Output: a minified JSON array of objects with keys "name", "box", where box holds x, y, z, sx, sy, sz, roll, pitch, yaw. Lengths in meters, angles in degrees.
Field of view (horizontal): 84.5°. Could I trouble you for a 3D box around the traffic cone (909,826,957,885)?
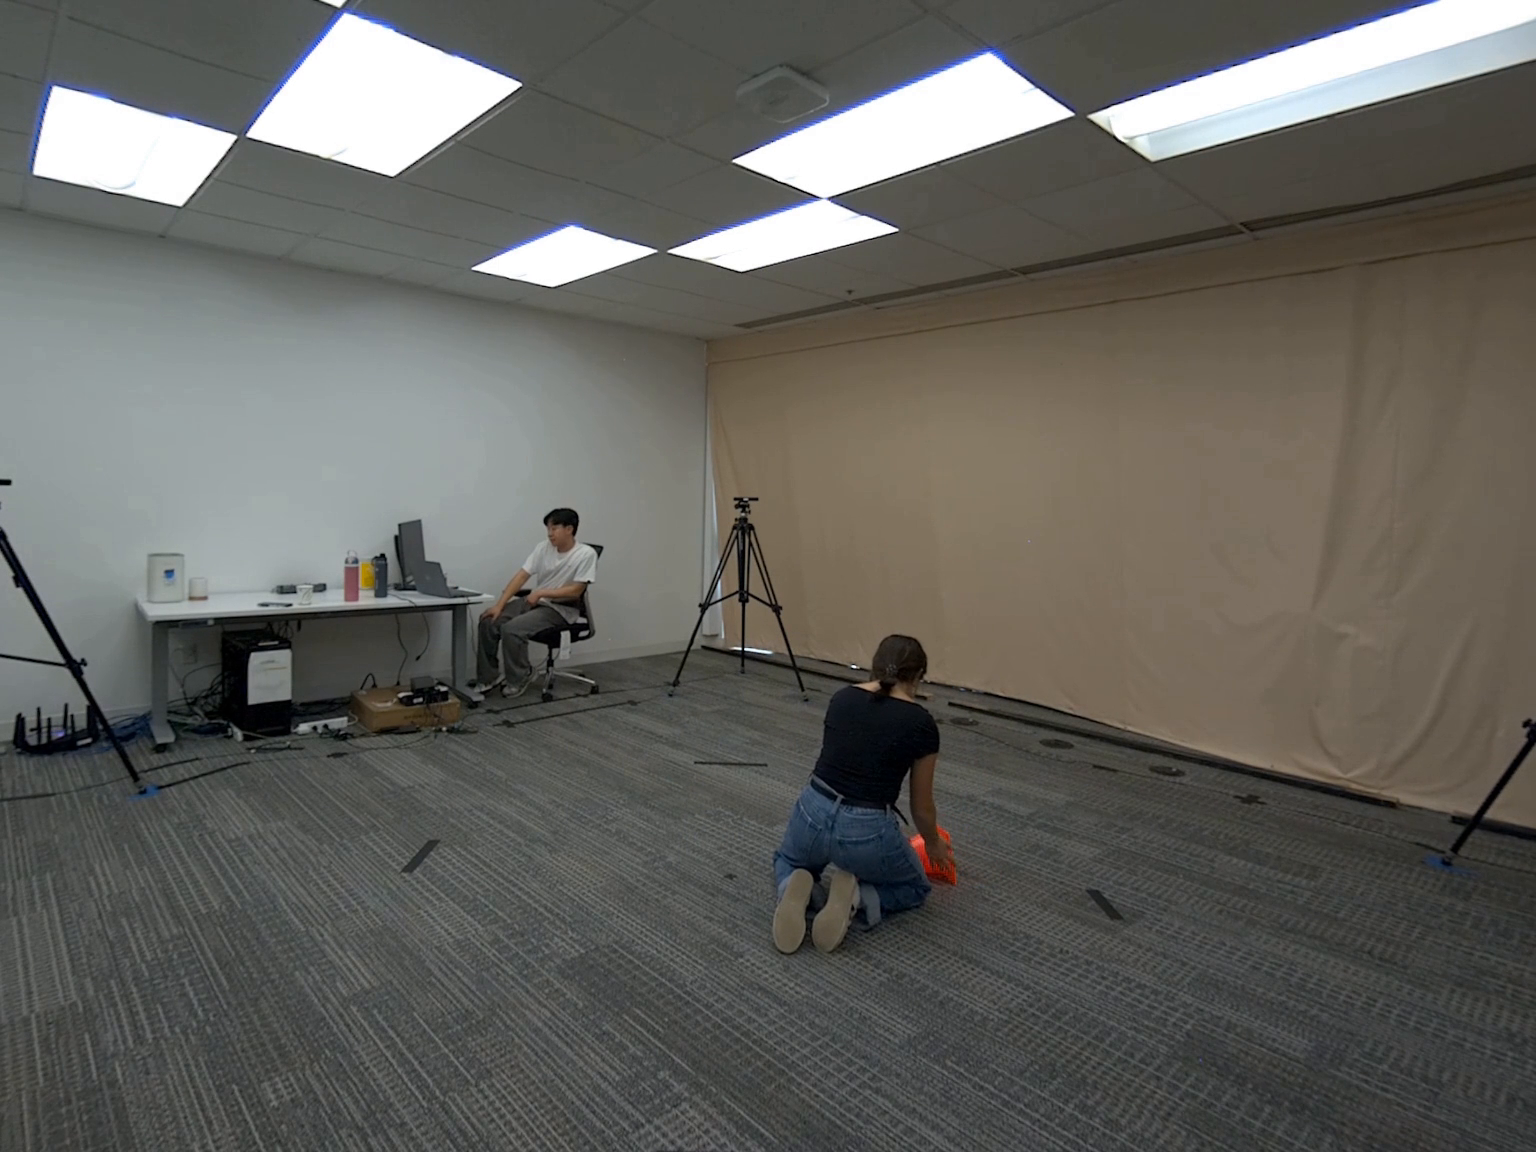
[{"name":"traffic cone","box":[0.462,1.079,3.111,0.380,0.202,0.208,-14,10,-15]}]
